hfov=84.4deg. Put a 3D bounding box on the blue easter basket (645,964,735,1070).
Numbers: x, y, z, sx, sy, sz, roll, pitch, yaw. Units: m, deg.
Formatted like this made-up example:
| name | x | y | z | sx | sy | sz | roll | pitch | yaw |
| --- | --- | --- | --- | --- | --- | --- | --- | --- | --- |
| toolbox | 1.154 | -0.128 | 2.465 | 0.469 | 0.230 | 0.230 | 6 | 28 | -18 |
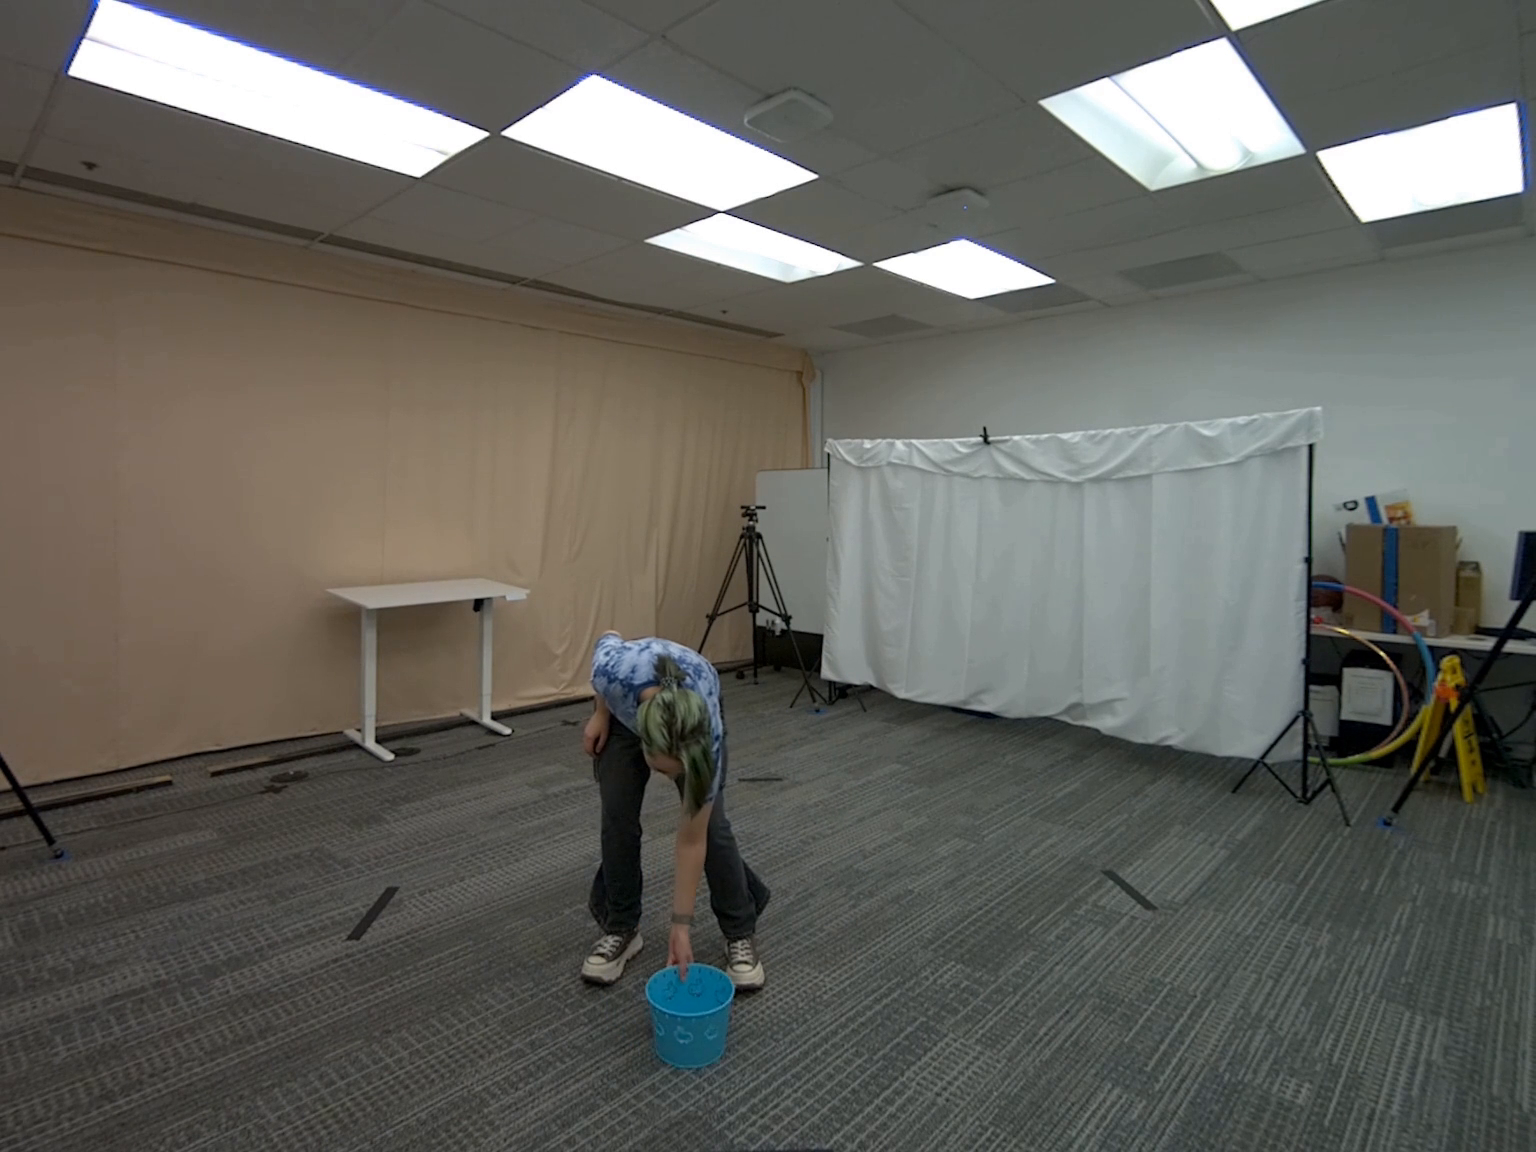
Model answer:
| name | x | y | z | sx | sy | sz | roll | pitch | yaw |
| --- | --- | --- | --- | --- | --- | --- | --- | --- | --- |
| blue easter basket | -0.194 | 1.132 | 2.174 | 0.243 | 0.155 | 0.244 | 1 | 5 | -2 |
